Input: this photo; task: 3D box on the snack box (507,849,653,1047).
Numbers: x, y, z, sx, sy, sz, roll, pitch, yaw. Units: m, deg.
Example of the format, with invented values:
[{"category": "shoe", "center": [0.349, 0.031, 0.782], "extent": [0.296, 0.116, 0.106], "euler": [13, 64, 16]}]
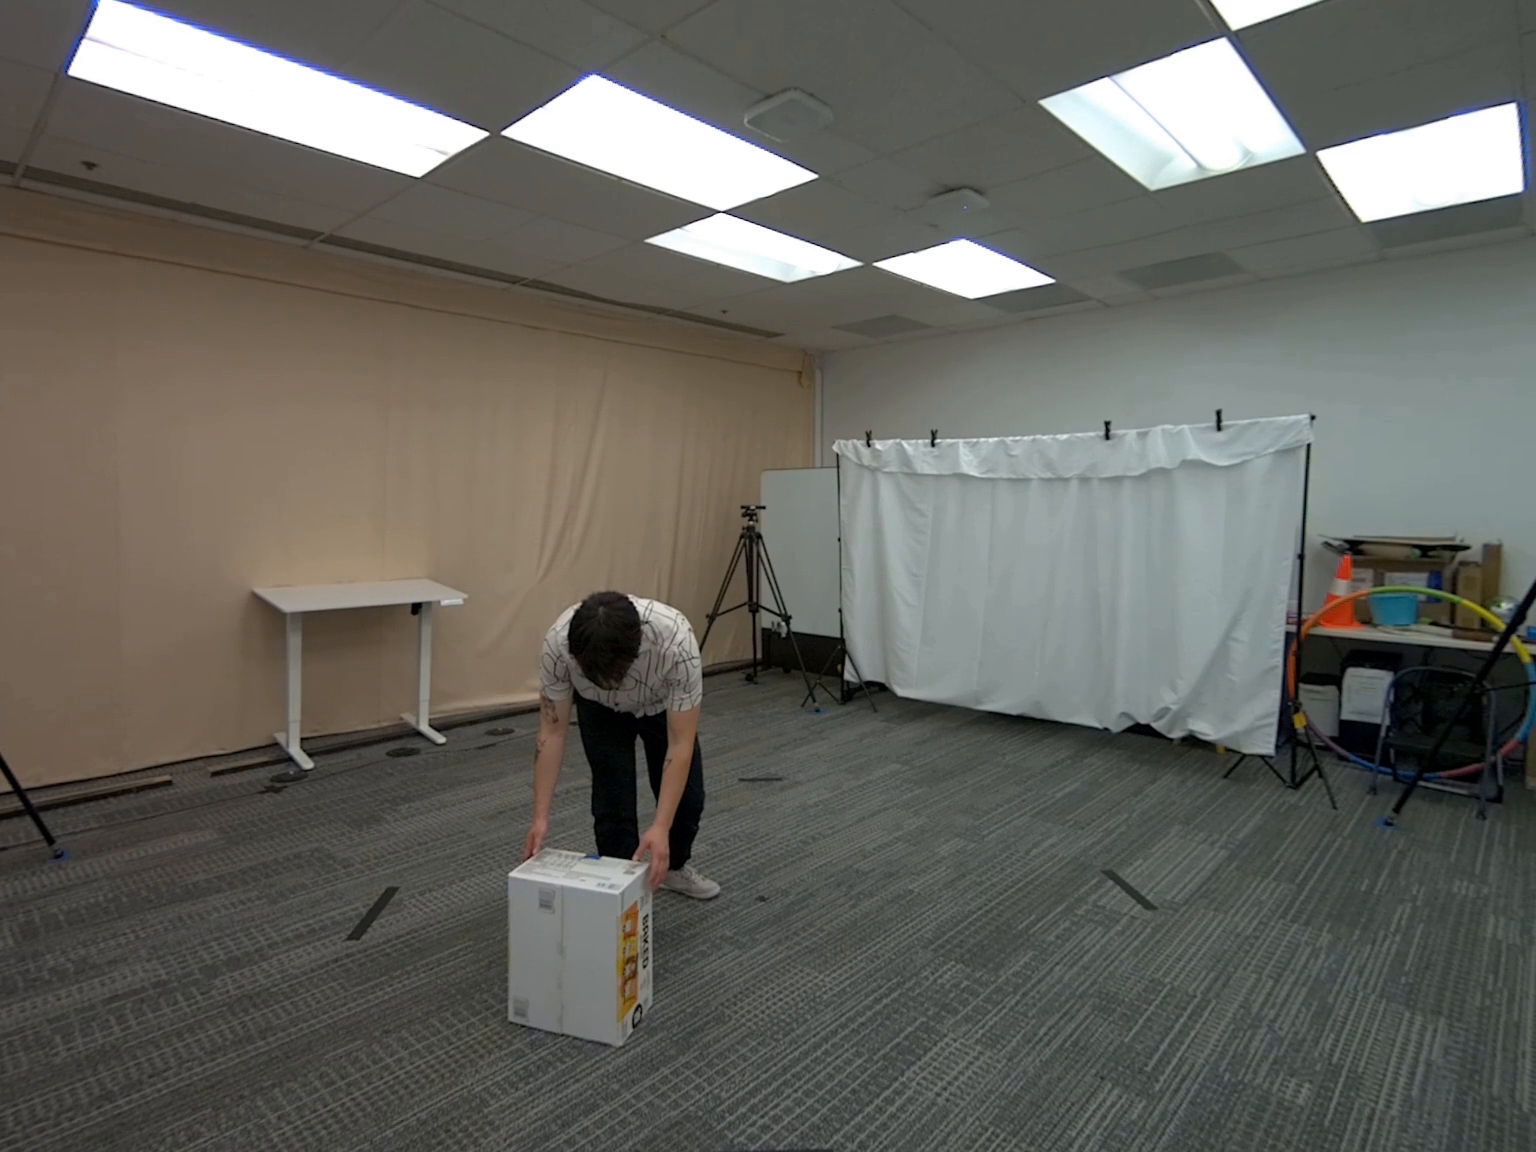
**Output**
[{"category": "snack box", "center": [-0.514, 0.998, 2.303], "extent": [0.347, 0.404, 0.202], "euler": [1, 3, 18]}]
